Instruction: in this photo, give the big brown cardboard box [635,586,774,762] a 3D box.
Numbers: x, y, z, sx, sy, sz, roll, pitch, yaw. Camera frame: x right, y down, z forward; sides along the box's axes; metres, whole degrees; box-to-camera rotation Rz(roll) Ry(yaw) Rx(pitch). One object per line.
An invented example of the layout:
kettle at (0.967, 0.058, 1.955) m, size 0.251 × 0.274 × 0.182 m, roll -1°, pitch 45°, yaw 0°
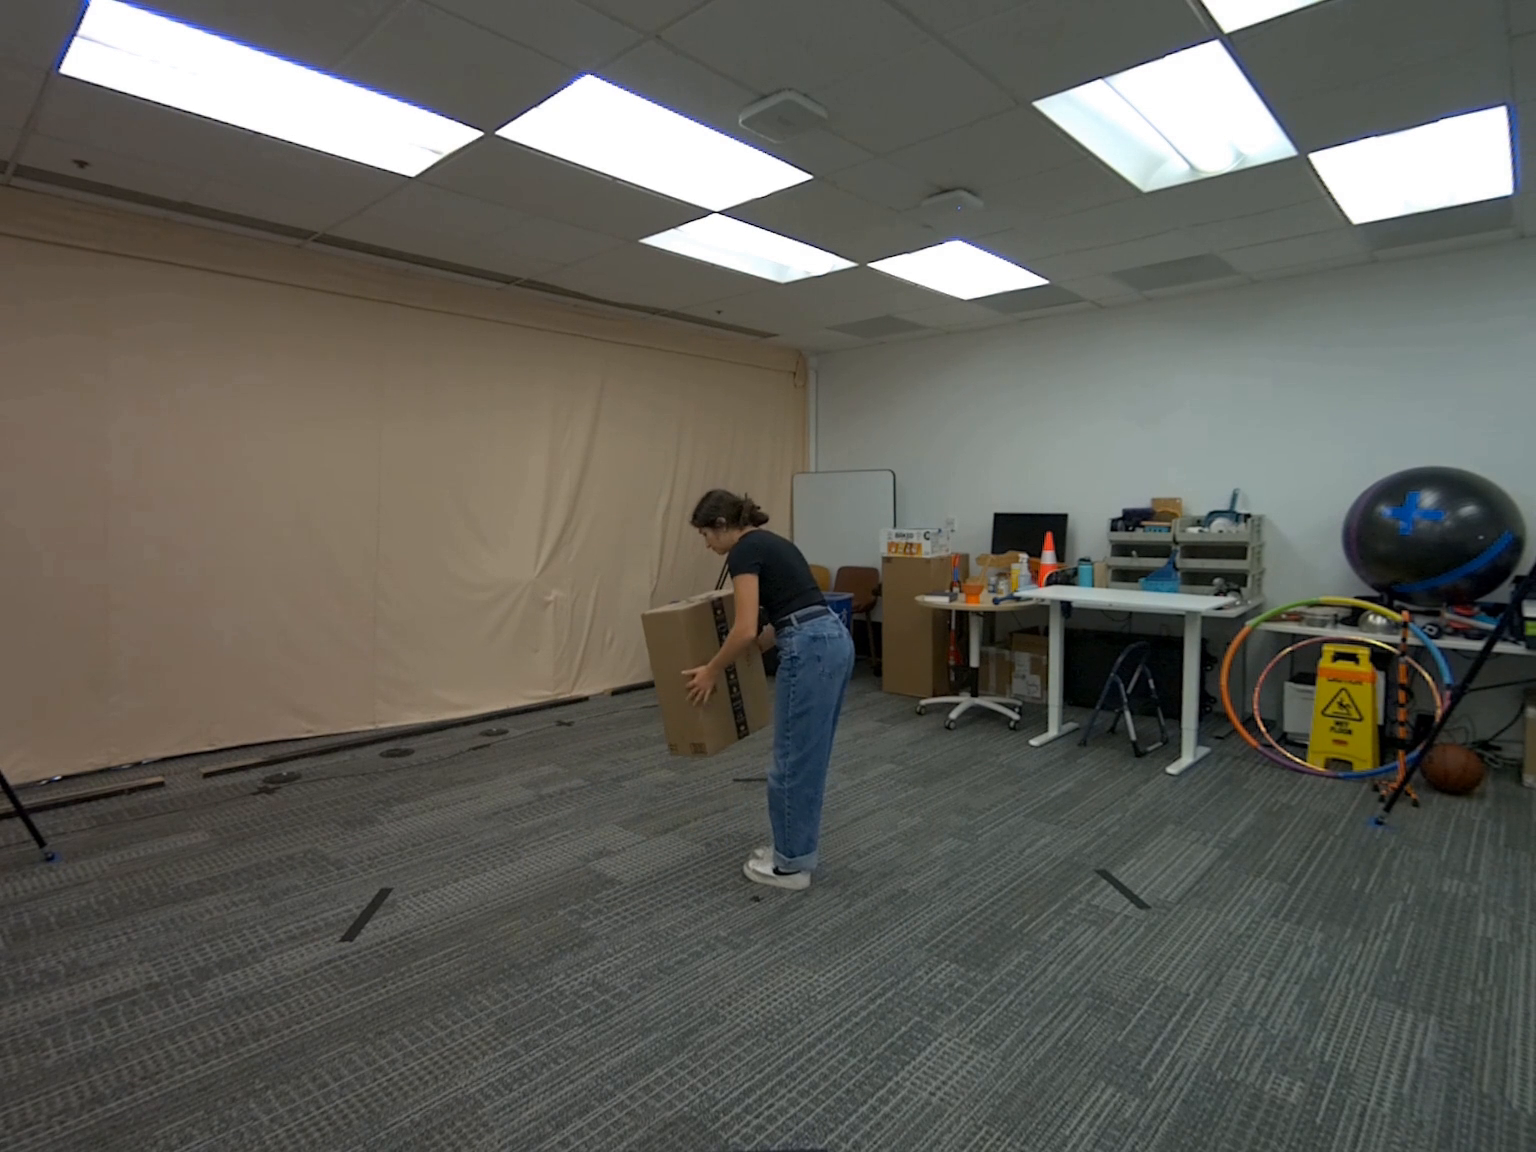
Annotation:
big brown cardboard box at (-0.240, 0.371, 3.354) m, size 0.240 × 0.588 × 0.406 m, roll -11°, pitch 2°, yaw 40°
